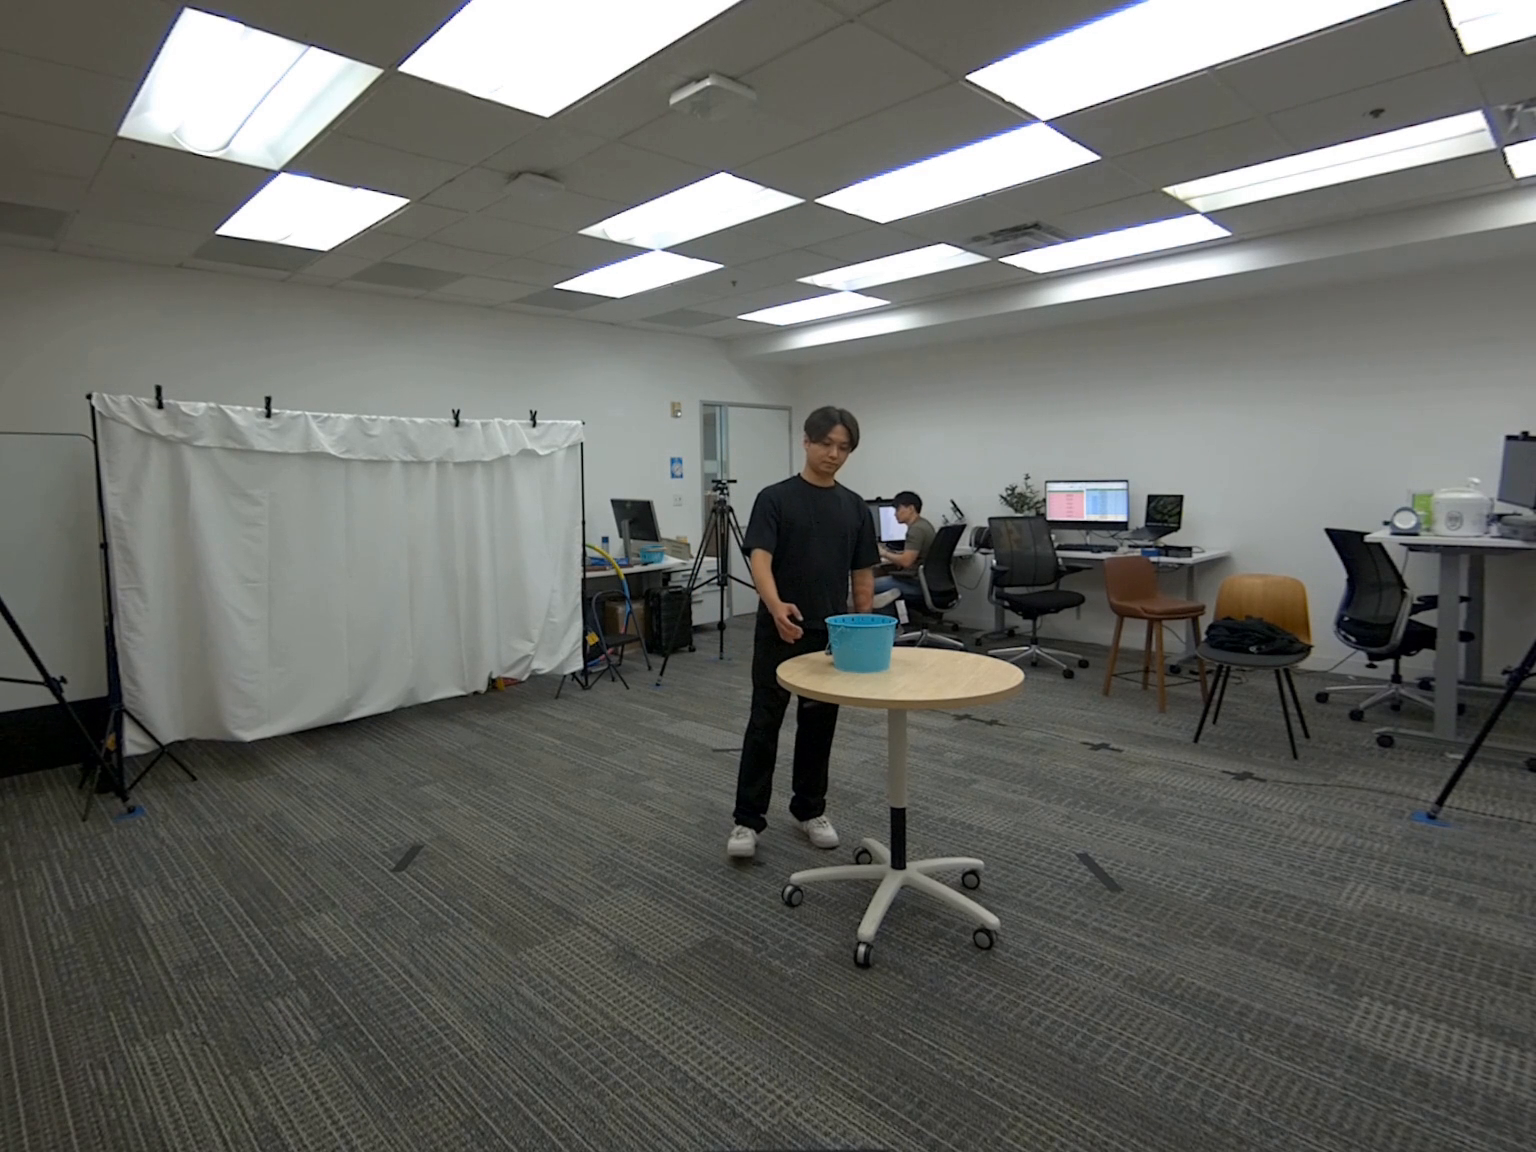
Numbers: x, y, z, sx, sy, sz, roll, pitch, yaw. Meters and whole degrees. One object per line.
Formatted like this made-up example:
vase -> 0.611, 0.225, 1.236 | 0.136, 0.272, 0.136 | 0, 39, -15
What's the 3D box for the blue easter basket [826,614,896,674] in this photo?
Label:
blue easter basket -> 0.318, 0.223, 2.779 | 0.243, 0.155, 0.245 | -1, 6, -2
